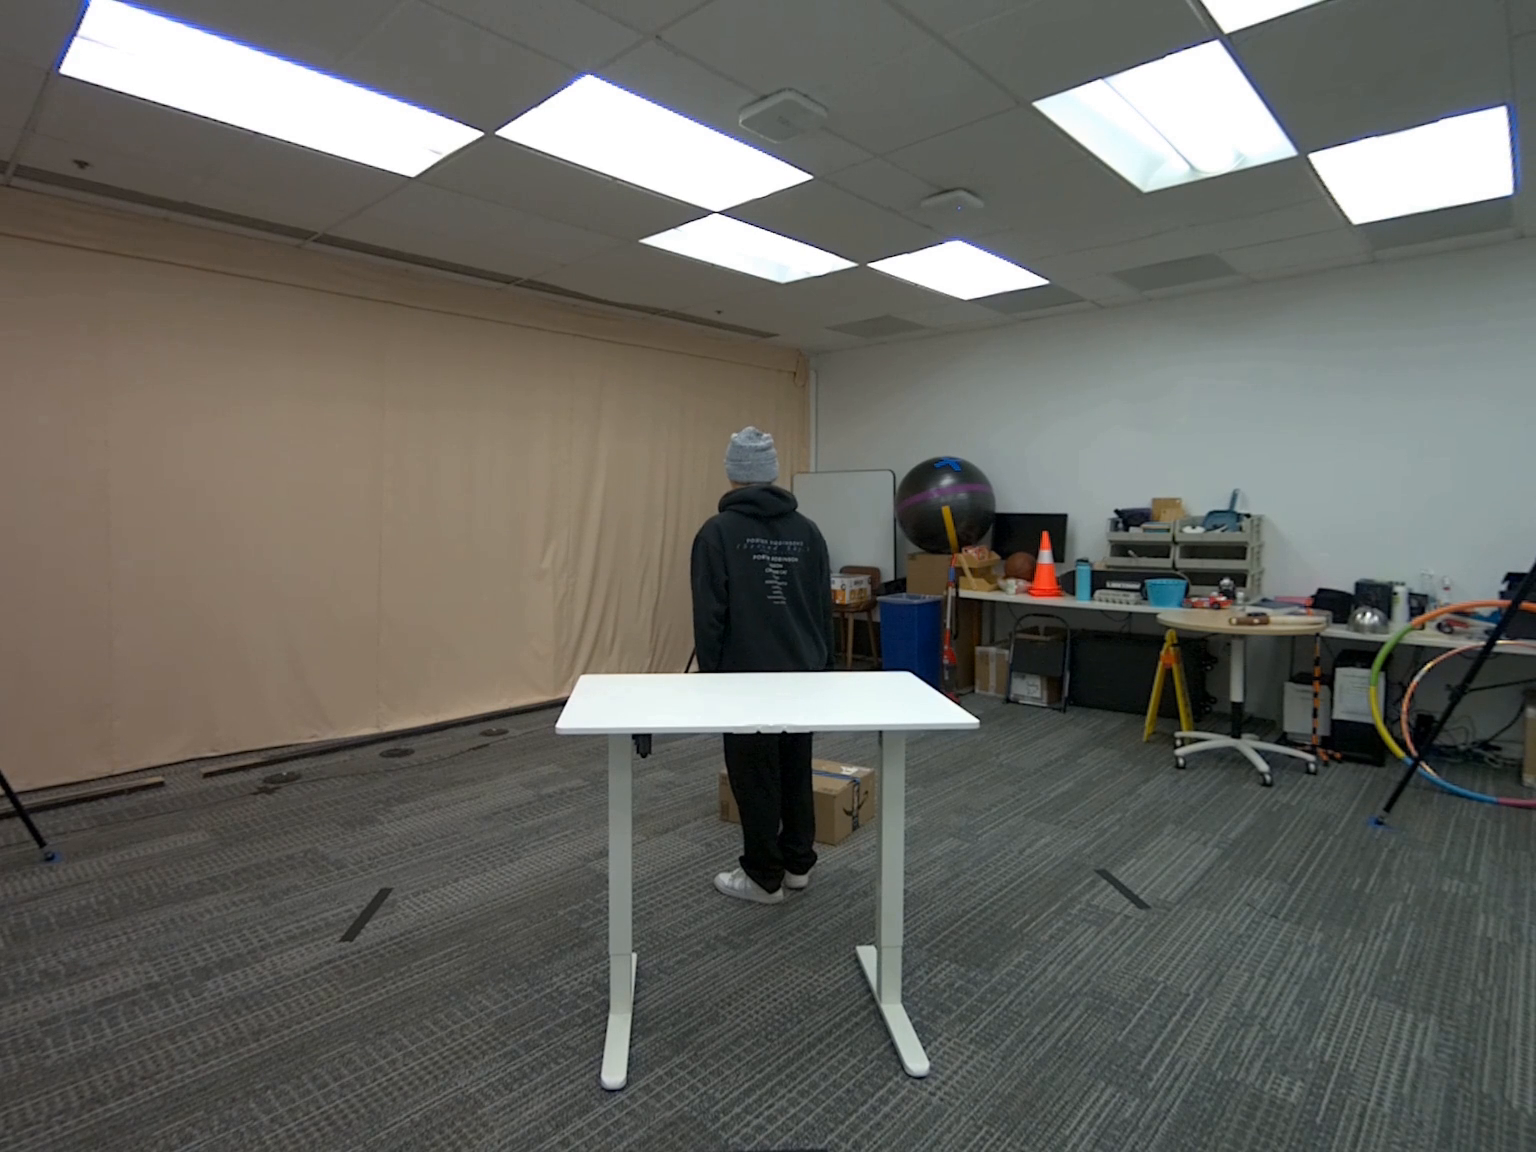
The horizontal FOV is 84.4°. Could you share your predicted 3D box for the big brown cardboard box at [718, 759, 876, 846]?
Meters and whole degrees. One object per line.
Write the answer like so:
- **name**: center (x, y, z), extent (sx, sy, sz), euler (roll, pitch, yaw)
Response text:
- **big brown cardboard box**: center (0.137, 0.969, 3.754), extent (0.606, 0.233, 0.406), euler (2, 4, 31)
